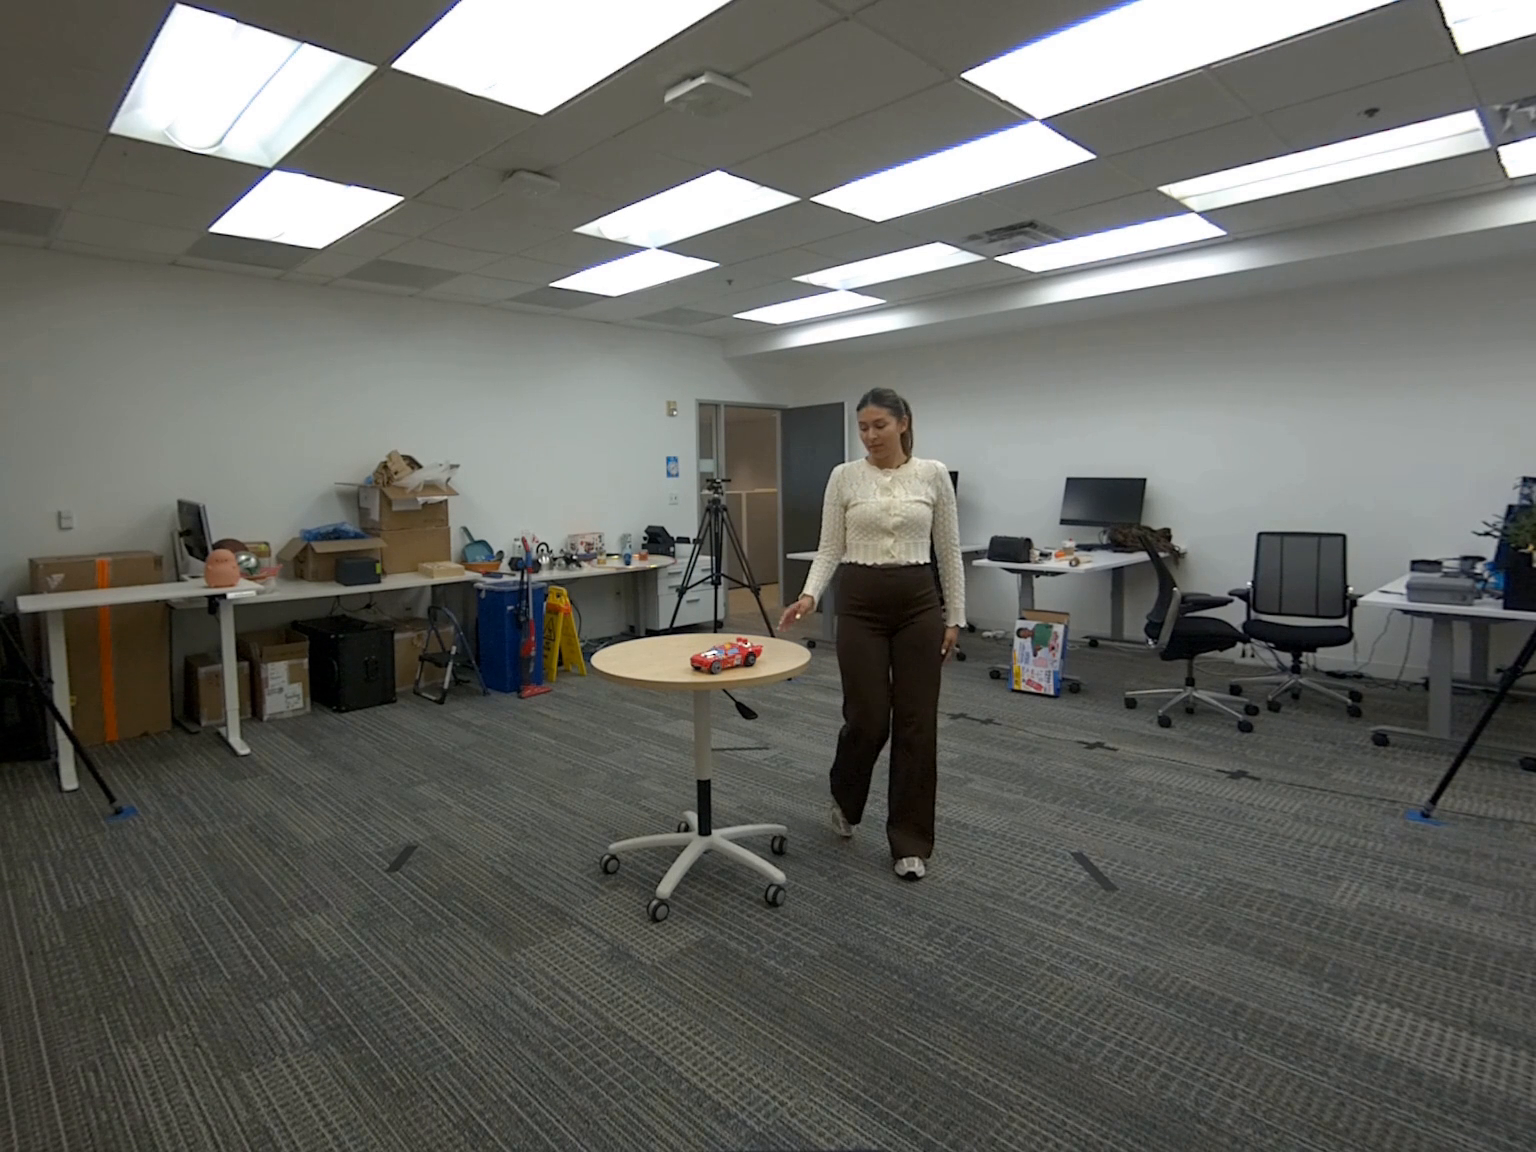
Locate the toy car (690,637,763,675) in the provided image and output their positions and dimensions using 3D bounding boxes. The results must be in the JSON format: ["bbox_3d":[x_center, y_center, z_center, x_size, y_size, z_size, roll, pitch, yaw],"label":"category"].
[{"bbox_3d":[-0.121,0.267,2.796,0.250,0.082,0.134,-21,18,-37],"label":"toy car"}]
